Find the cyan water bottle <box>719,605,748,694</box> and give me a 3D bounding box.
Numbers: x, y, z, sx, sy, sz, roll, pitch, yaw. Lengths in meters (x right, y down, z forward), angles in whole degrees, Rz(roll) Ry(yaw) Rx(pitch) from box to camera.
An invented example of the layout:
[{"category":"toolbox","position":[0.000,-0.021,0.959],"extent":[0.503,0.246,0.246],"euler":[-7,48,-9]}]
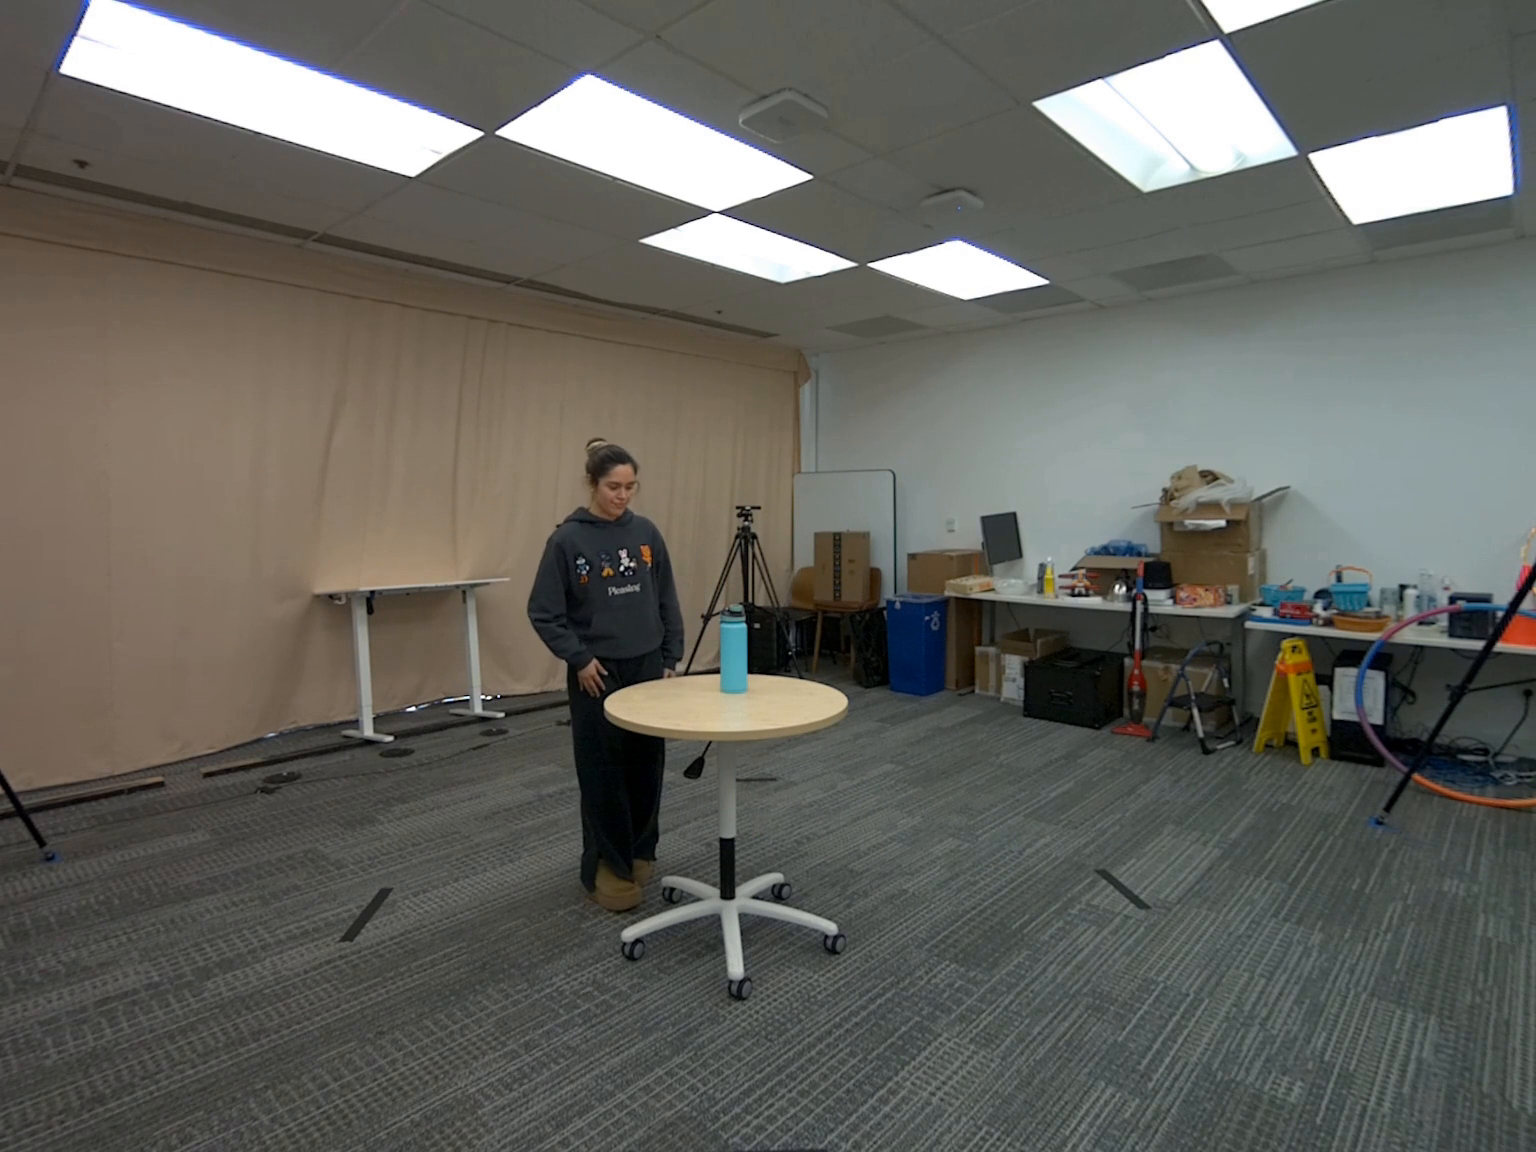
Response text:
[{"category":"cyan water bottle","position":[-0.097,0.241,2.774],"extent":[0.092,0.283,0.092],"euler":[0,1,-2]}]
